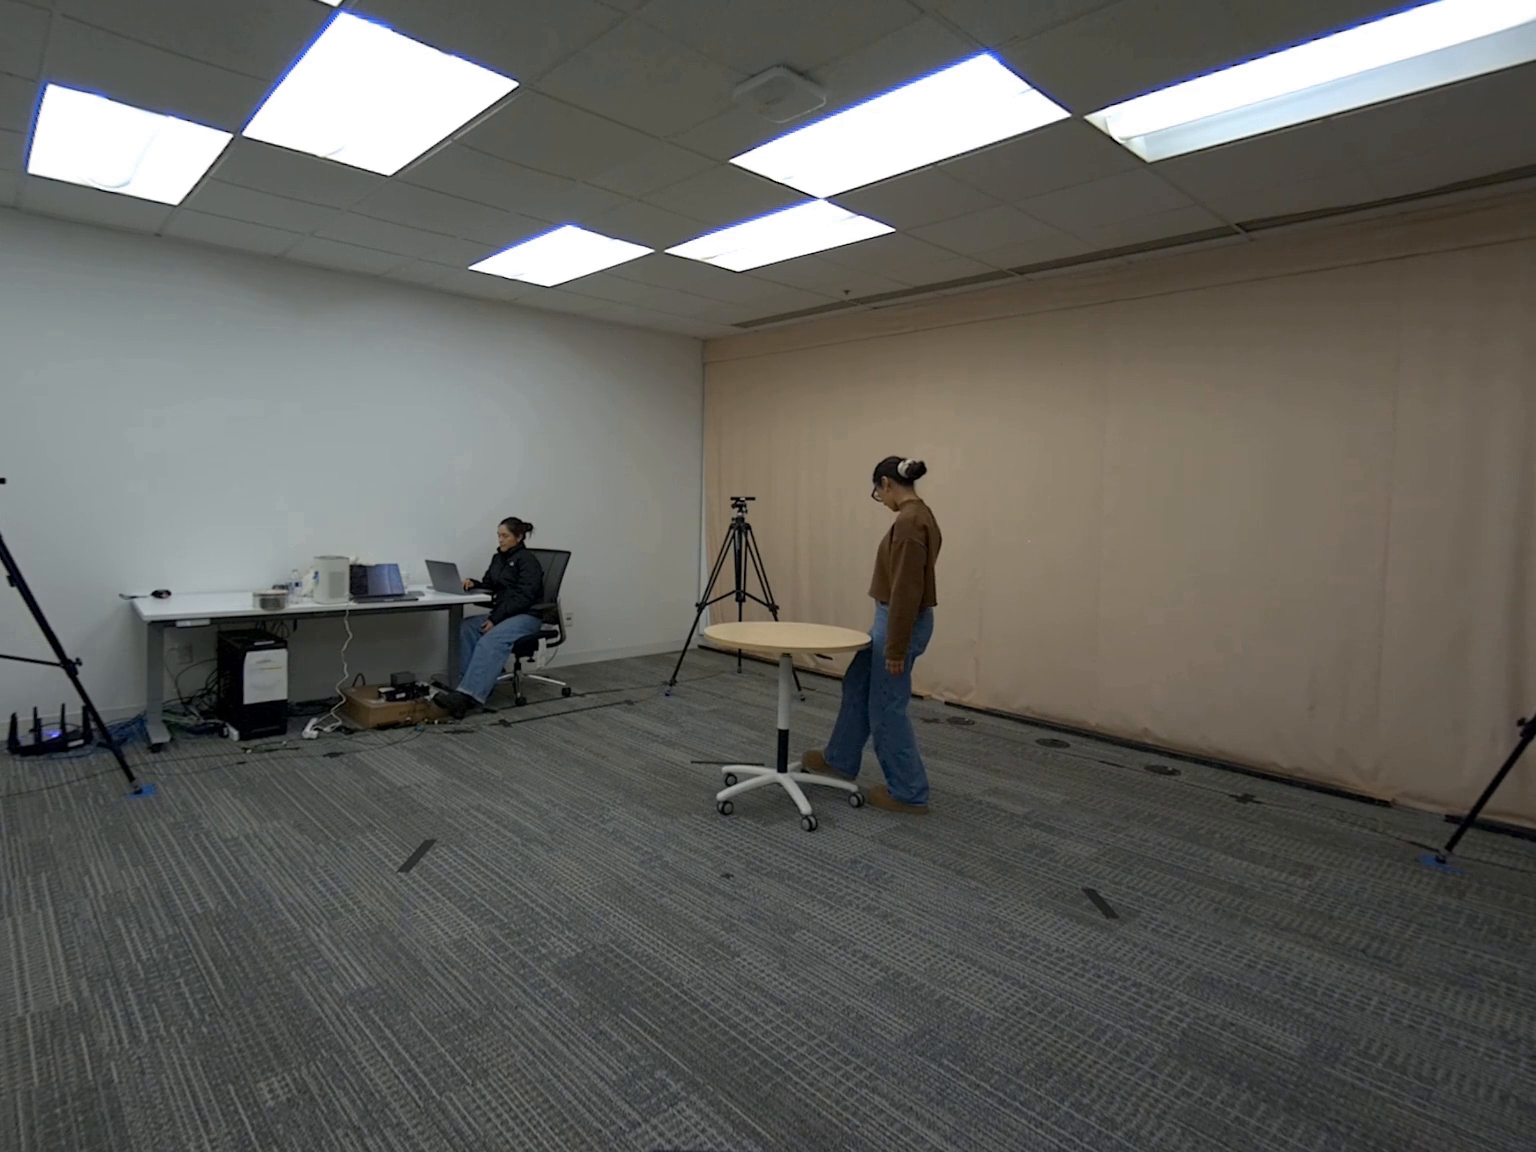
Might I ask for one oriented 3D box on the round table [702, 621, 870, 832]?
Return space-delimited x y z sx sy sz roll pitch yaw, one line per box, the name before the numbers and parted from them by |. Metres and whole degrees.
round table | 0.055 0.655 3.874 0.763 0.792 0.766 2 3 -1
